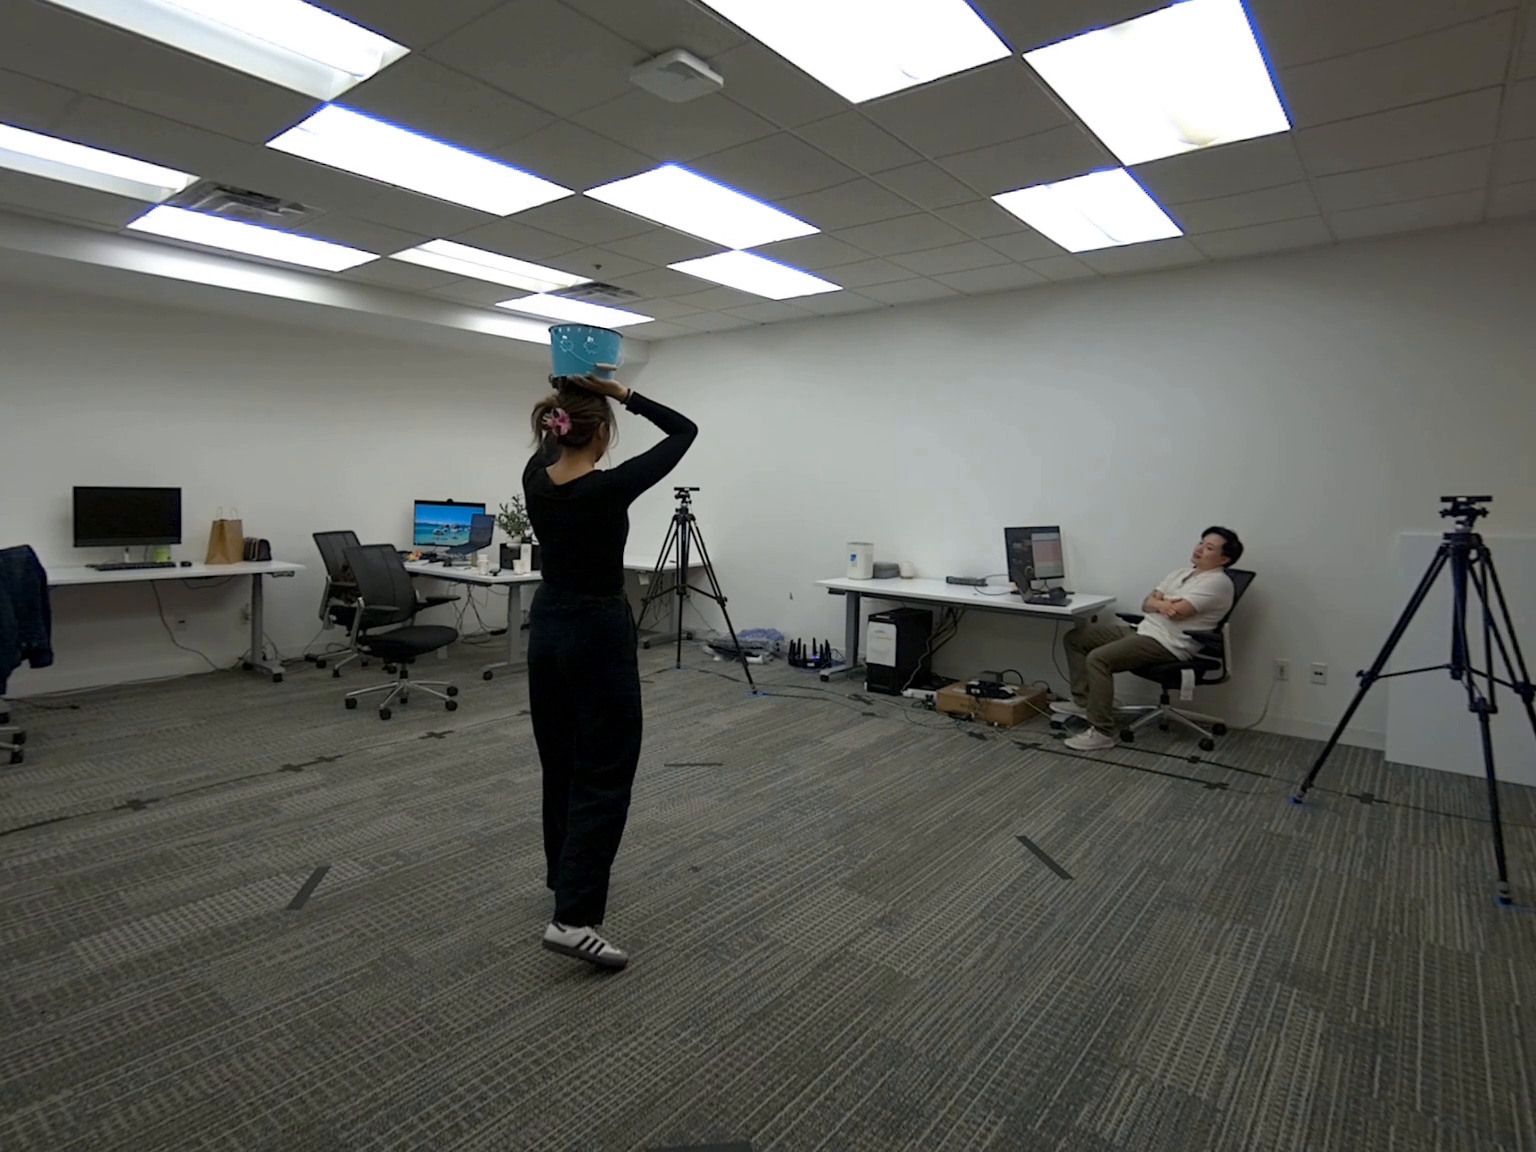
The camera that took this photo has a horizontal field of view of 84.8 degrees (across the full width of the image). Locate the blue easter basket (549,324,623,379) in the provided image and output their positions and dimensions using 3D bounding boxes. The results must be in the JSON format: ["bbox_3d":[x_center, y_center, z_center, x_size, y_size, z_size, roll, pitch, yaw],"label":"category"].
[{"bbox_3d":[-0.575,-0.676,2.611,0.243,0.156,0.244,2,2,-2],"label":"blue easter basket"}]
